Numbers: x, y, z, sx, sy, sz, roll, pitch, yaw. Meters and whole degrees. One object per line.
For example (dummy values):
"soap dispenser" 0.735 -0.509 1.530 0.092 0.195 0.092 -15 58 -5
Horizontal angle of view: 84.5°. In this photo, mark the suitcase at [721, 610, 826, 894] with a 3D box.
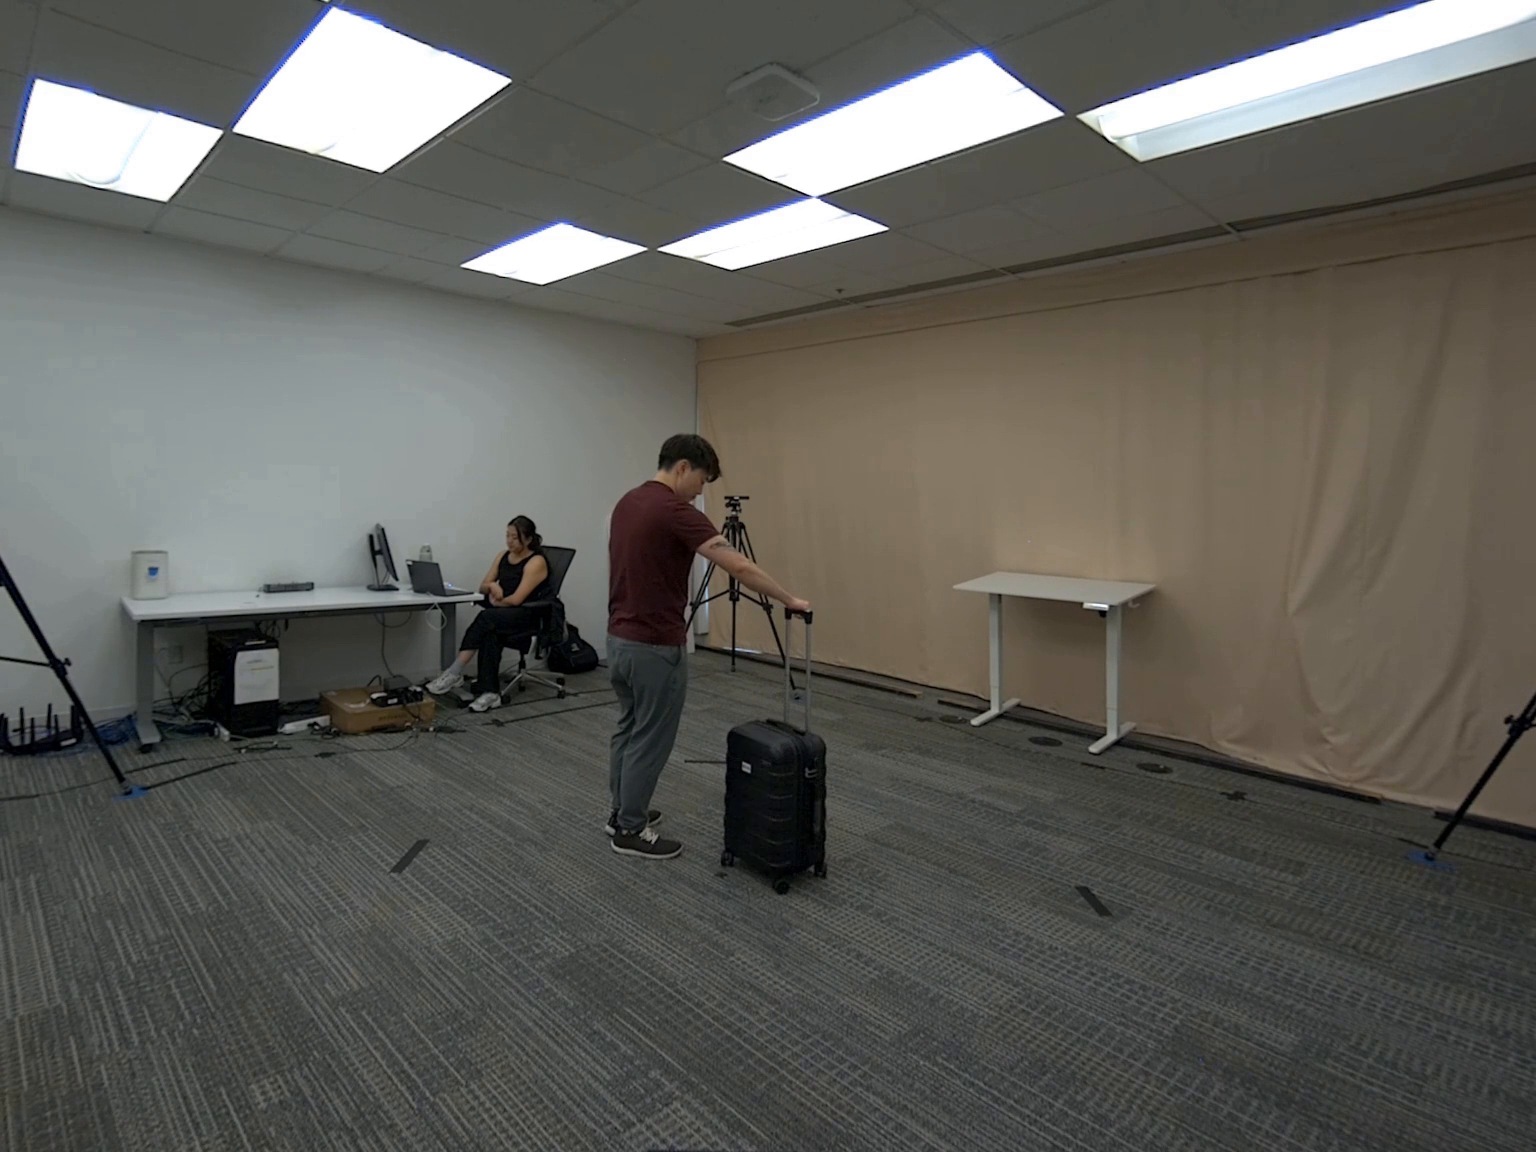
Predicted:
"suitcase" 0.022 0.630 3.111 0.251 0.975 0.393 -3 6 -37
